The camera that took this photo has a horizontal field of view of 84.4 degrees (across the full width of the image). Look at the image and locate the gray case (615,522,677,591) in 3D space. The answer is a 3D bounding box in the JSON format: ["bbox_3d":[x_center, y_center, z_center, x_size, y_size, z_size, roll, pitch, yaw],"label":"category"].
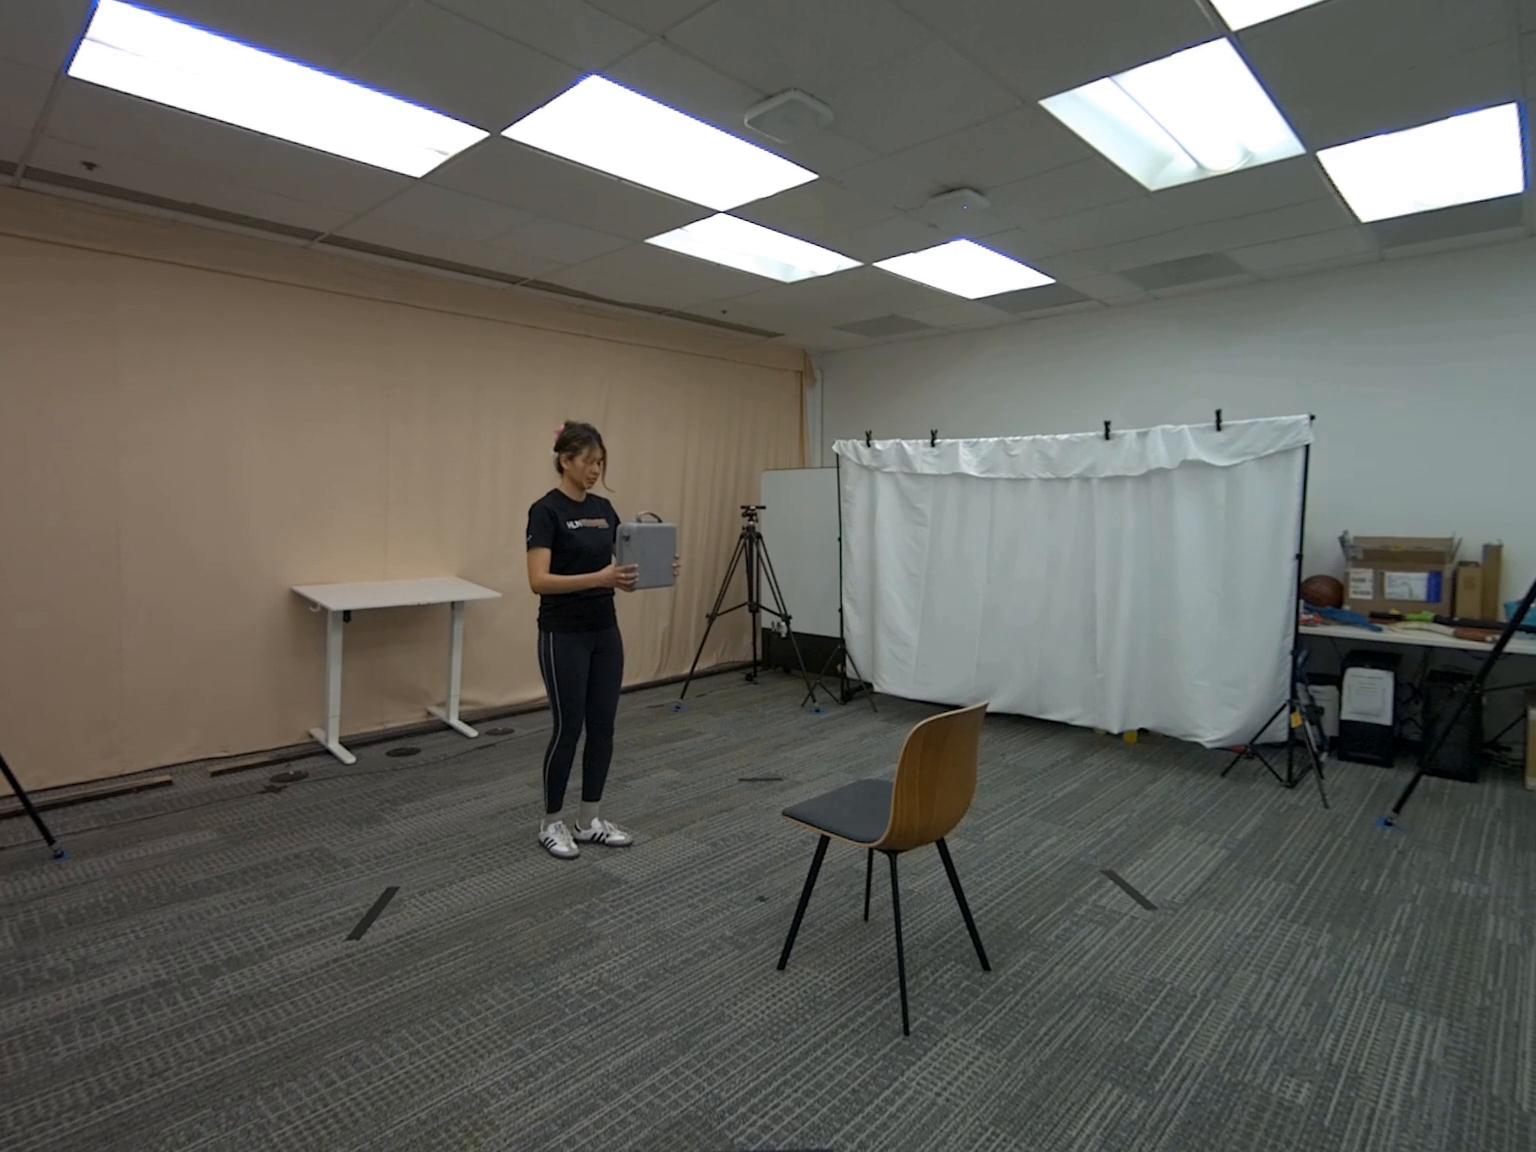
[{"bbox_3d":[-0.458,-0.084,3.211,0.108,0.260,0.249,7,7,36],"label":"gray case"}]
